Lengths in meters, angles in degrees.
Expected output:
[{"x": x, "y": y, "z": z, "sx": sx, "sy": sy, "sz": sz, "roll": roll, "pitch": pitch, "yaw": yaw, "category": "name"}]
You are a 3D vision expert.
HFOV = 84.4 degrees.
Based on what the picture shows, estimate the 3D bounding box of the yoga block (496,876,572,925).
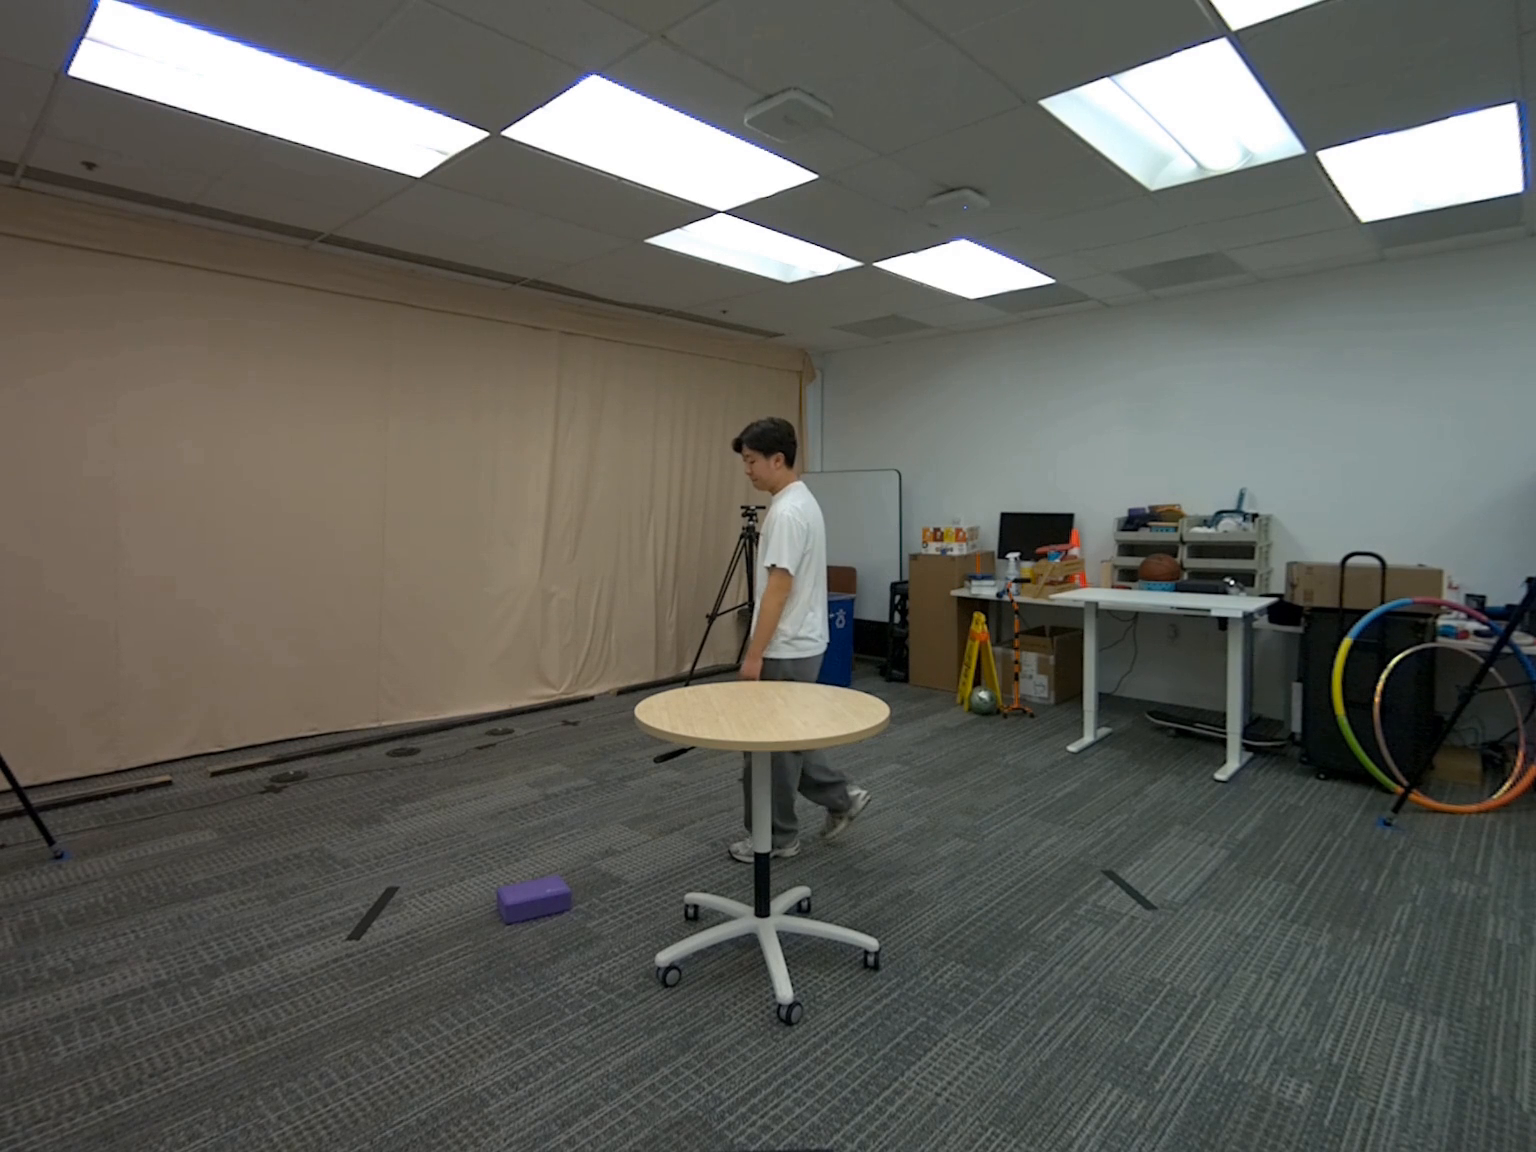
[{"x": -0.806, "y": 1.121, "z": 2.910, "sx": 0.223, "sy": 0.076, "sz": 0.153, "roll": -3, "pitch": 5, "yaw": -28, "category": "yoga block"}]
